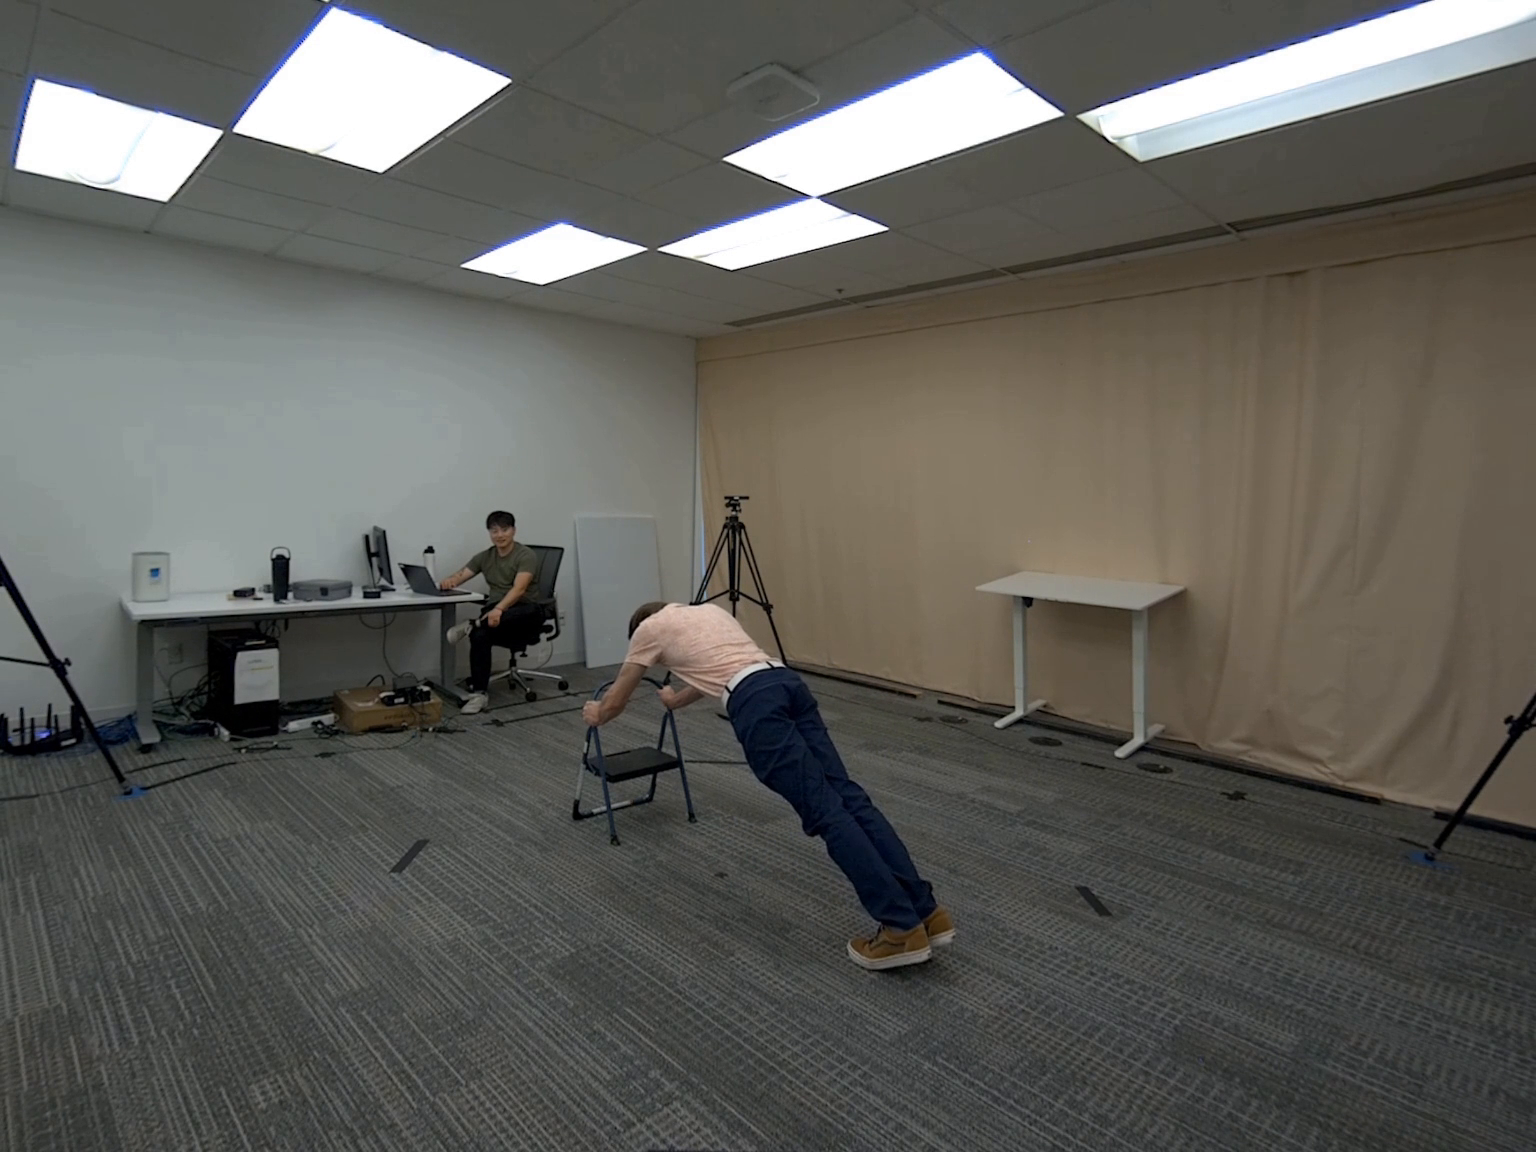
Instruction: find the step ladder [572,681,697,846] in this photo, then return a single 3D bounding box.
[{"bbox_3d":[-0.573,0.750,3.594,0.421,0.605,0.358,-1,4,-43],"label":"step ladder"}]
